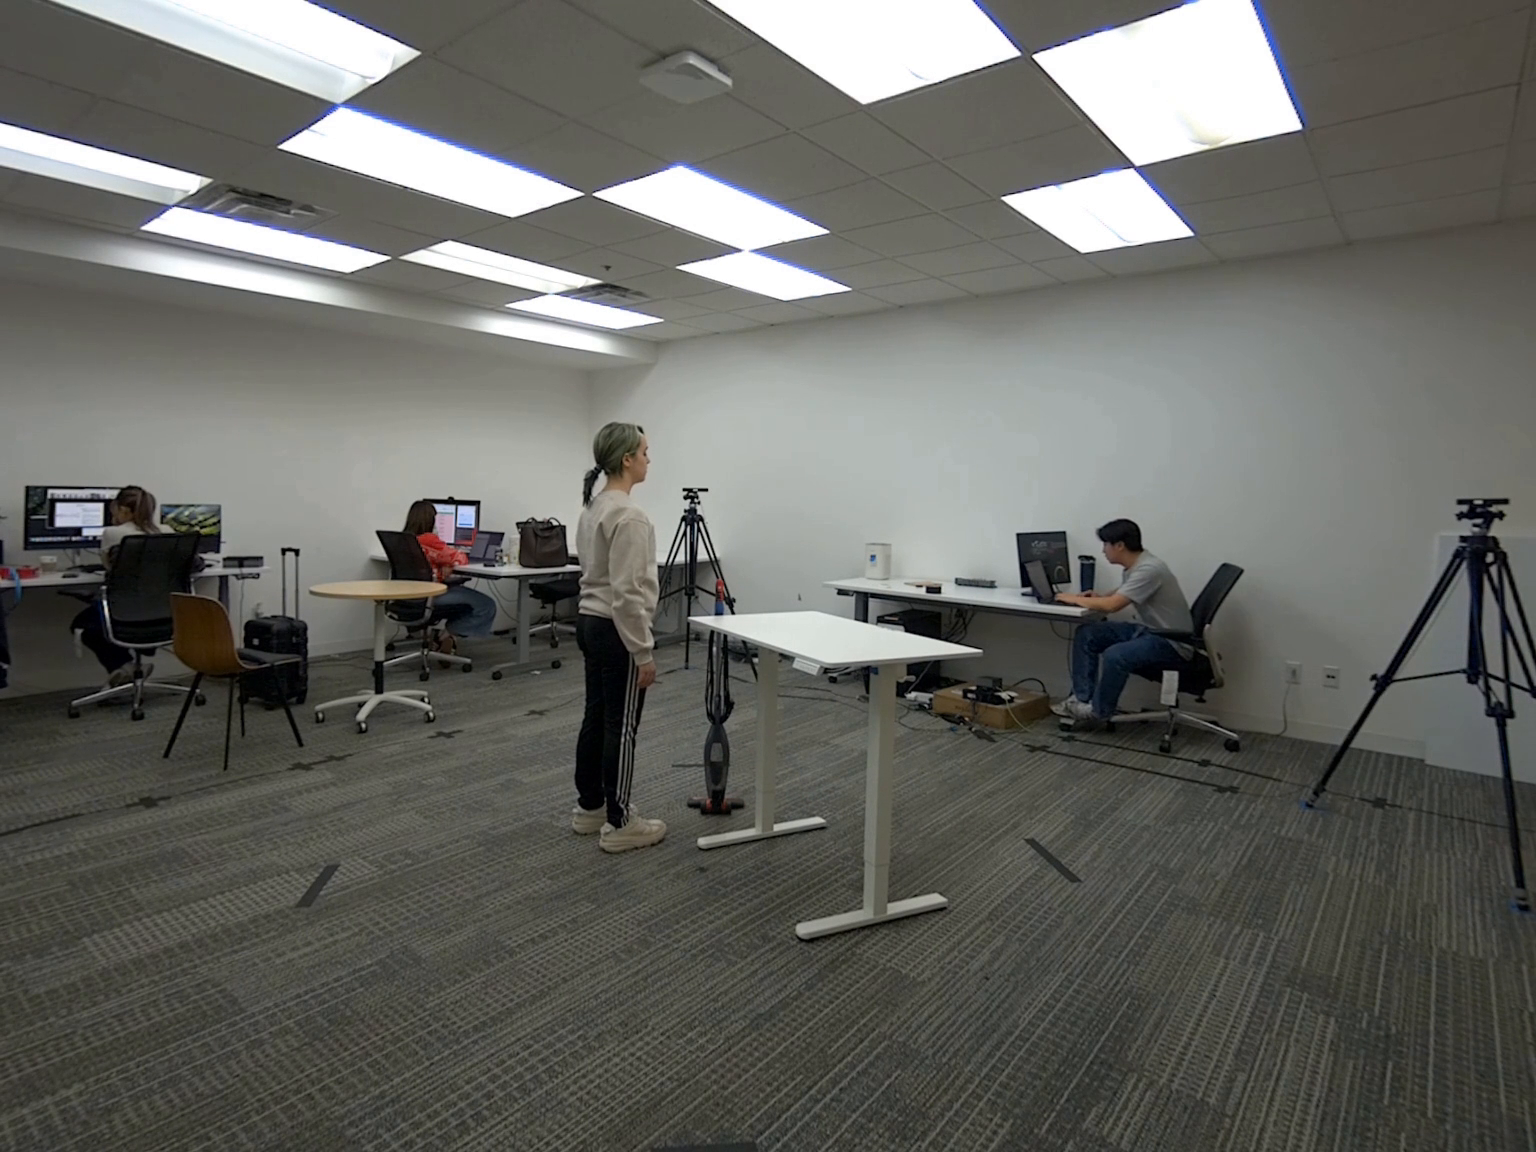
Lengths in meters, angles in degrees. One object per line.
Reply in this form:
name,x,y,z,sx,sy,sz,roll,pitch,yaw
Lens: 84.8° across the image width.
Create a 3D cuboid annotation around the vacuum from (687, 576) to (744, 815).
vacuum,-0.225,0.526,3.555,0.252,1.033,0.146,1,17,-2
